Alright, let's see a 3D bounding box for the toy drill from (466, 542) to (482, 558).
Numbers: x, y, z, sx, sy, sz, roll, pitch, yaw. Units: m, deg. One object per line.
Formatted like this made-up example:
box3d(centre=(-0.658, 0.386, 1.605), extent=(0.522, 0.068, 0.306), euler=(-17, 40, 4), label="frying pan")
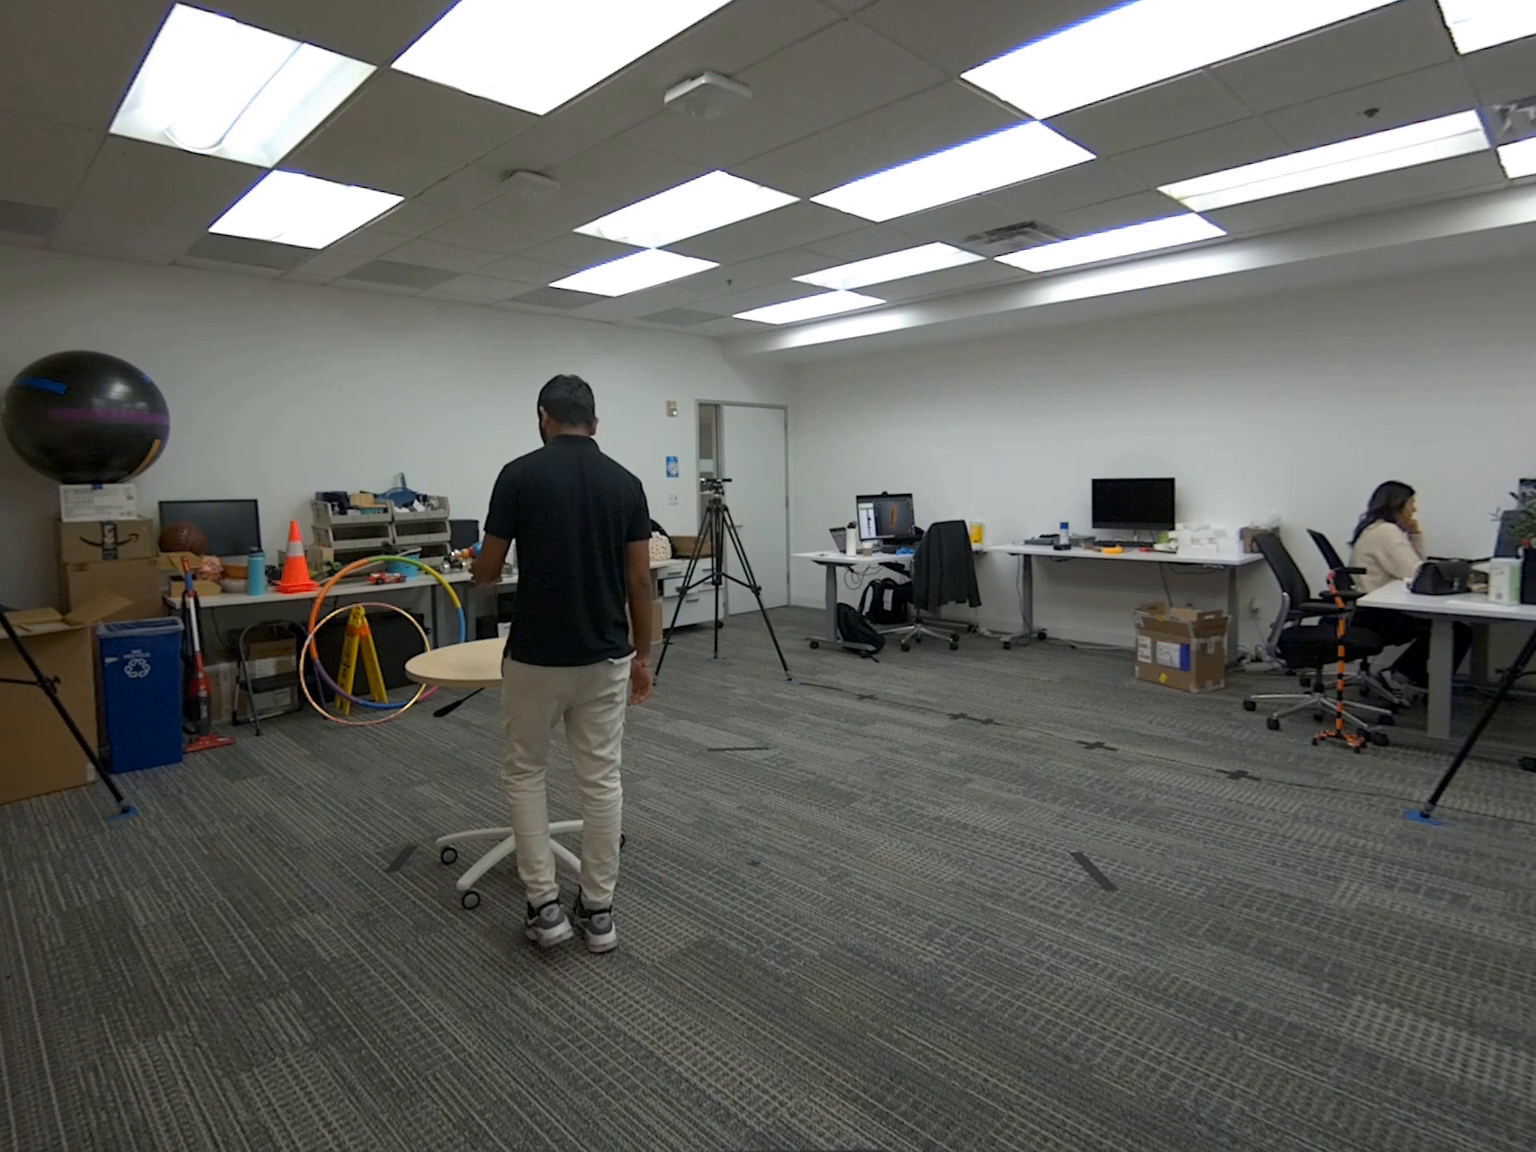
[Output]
box3d(centre=(-0.968, -0.036, 2.851), extent=(0.166, 0.145, 0.063), euler=(-13, 10, -36), label="toy drill")
